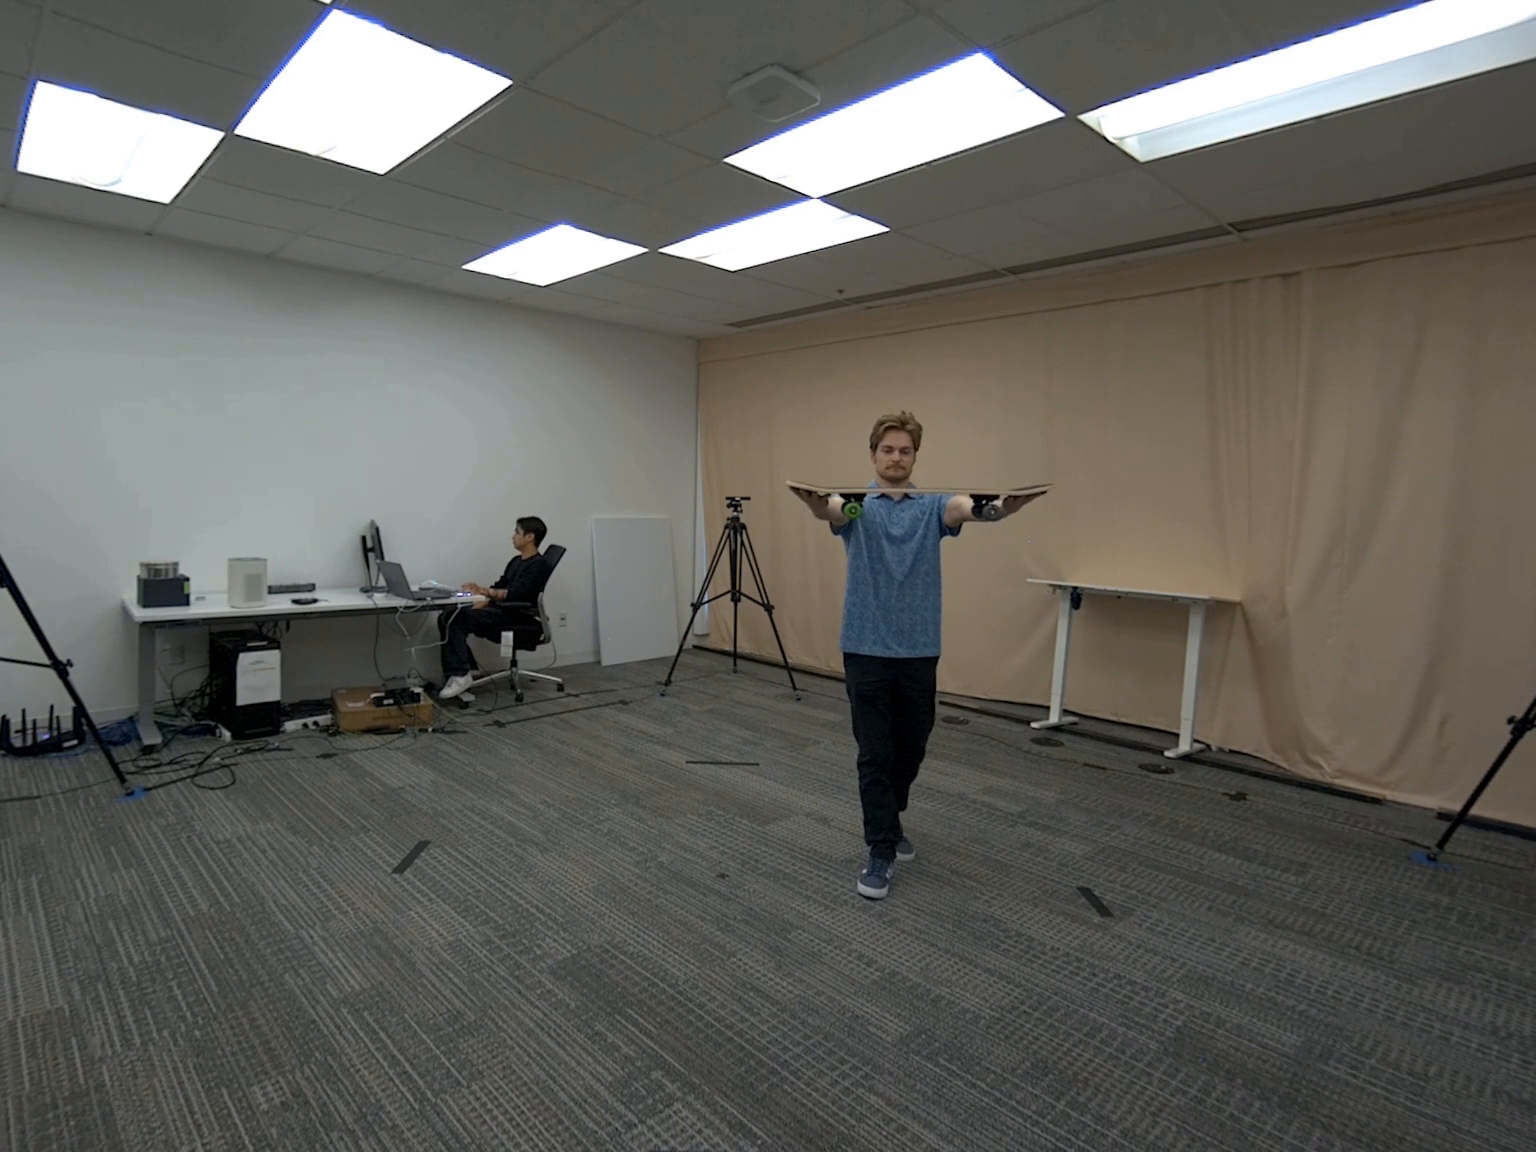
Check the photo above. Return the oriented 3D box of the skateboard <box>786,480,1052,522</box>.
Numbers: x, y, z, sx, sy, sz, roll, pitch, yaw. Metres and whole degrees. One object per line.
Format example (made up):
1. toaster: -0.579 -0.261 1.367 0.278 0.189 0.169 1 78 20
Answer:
1. skateboard: 0.439 -0.218 2.560 0.788 0.111 0.191 1 -7 5
